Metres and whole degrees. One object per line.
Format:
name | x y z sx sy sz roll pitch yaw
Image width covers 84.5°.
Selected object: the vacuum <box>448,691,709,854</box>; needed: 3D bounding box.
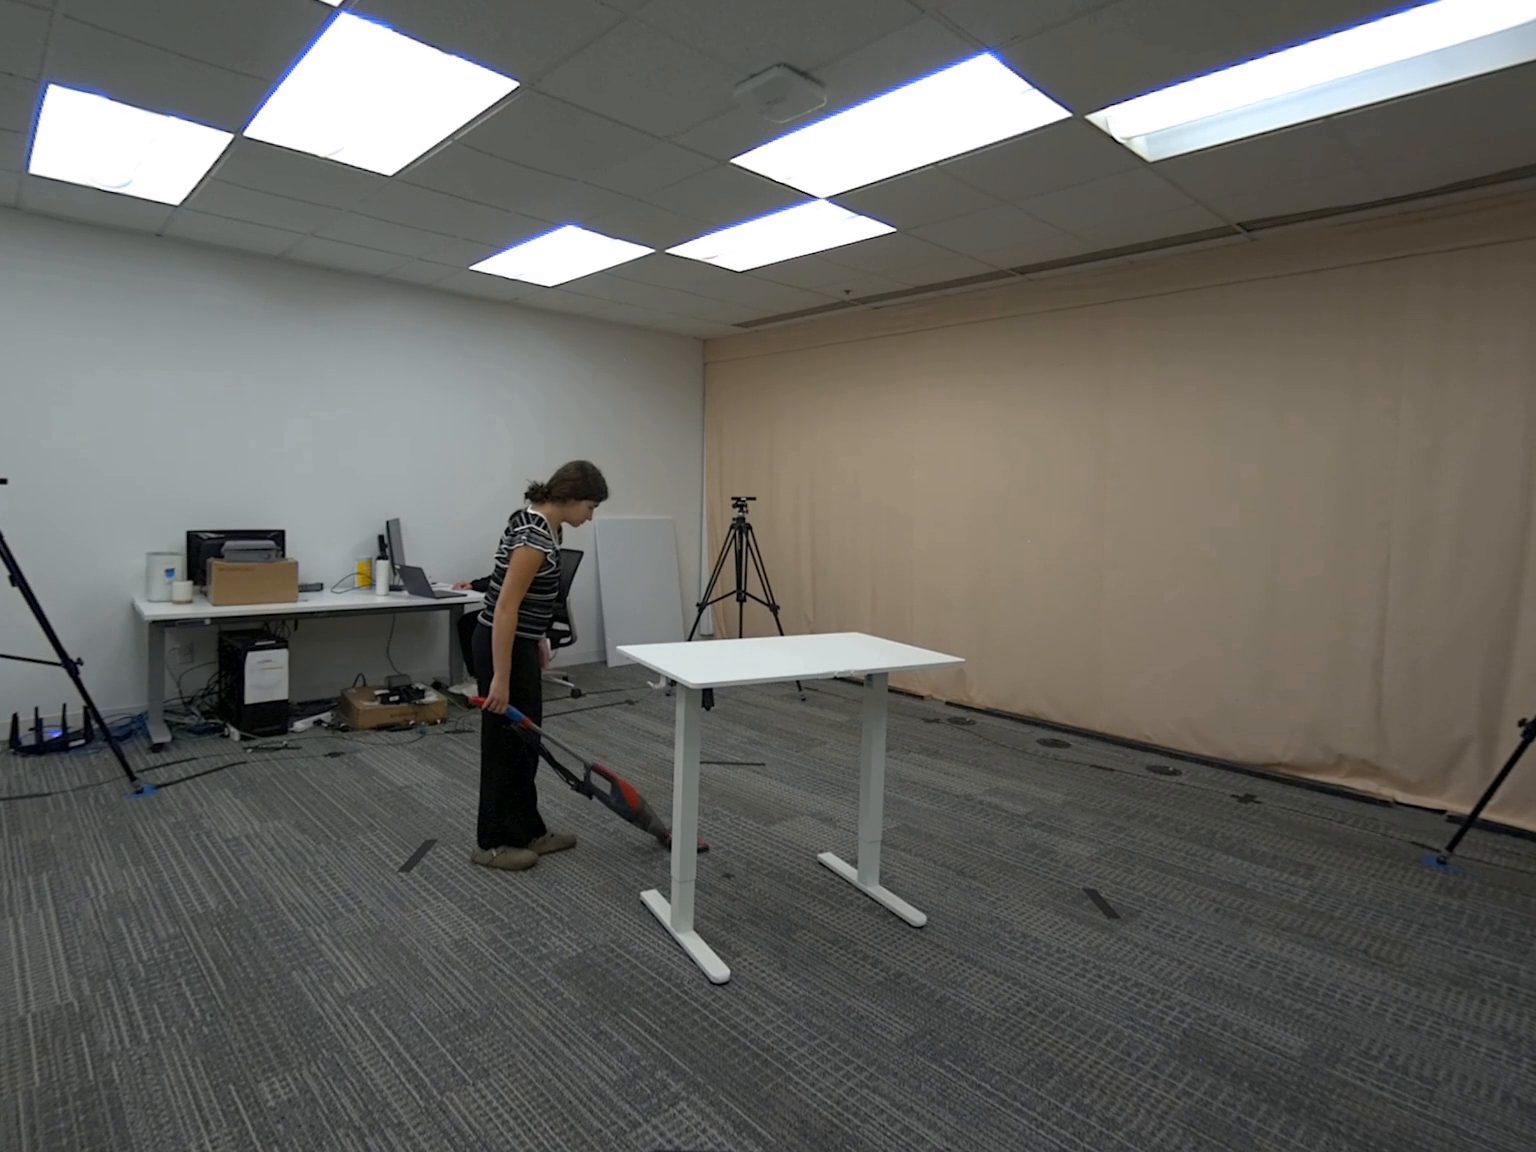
vacuum | -0.682 0.783 3.194 1.025 0.144 0.257 37 -17 -23
